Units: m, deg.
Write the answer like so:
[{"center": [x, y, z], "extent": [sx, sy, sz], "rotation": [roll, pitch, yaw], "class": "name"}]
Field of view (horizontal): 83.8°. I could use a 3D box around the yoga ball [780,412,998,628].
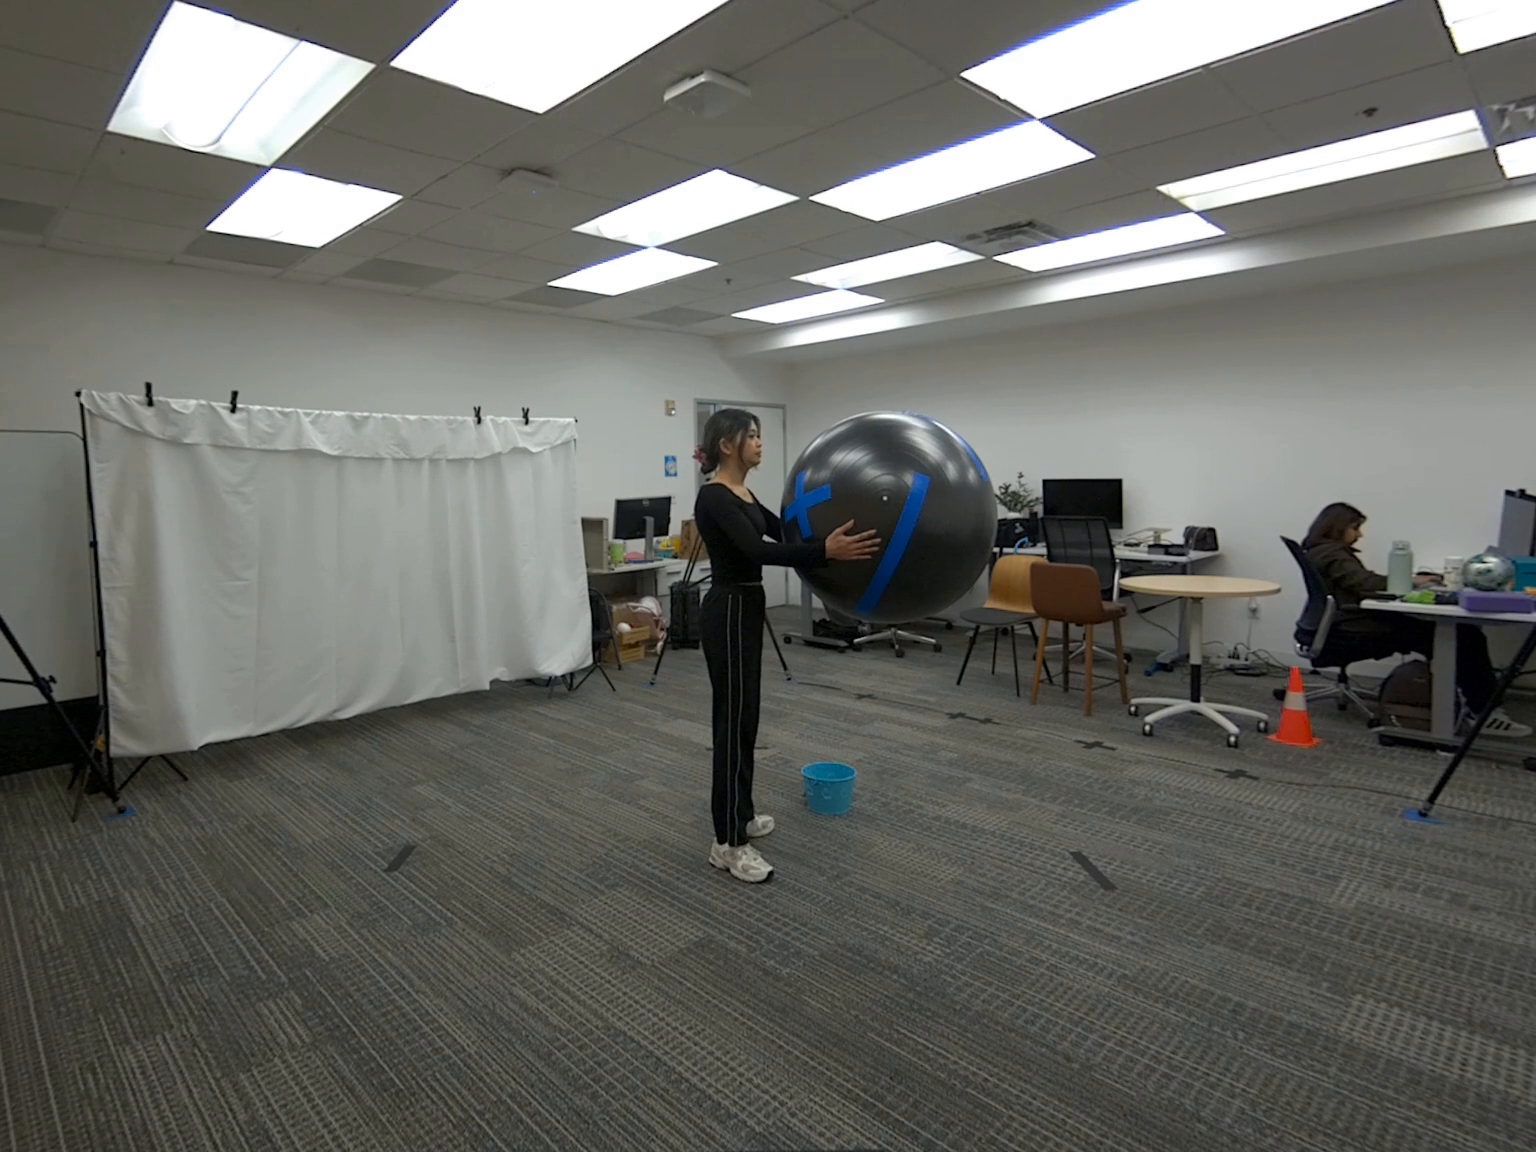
[{"center": [0.430, -0.203, 3.046], "extent": [0.757, 0.755, 0.762], "rotation": [-1, 5, -2], "class": "yoga ball"}]
